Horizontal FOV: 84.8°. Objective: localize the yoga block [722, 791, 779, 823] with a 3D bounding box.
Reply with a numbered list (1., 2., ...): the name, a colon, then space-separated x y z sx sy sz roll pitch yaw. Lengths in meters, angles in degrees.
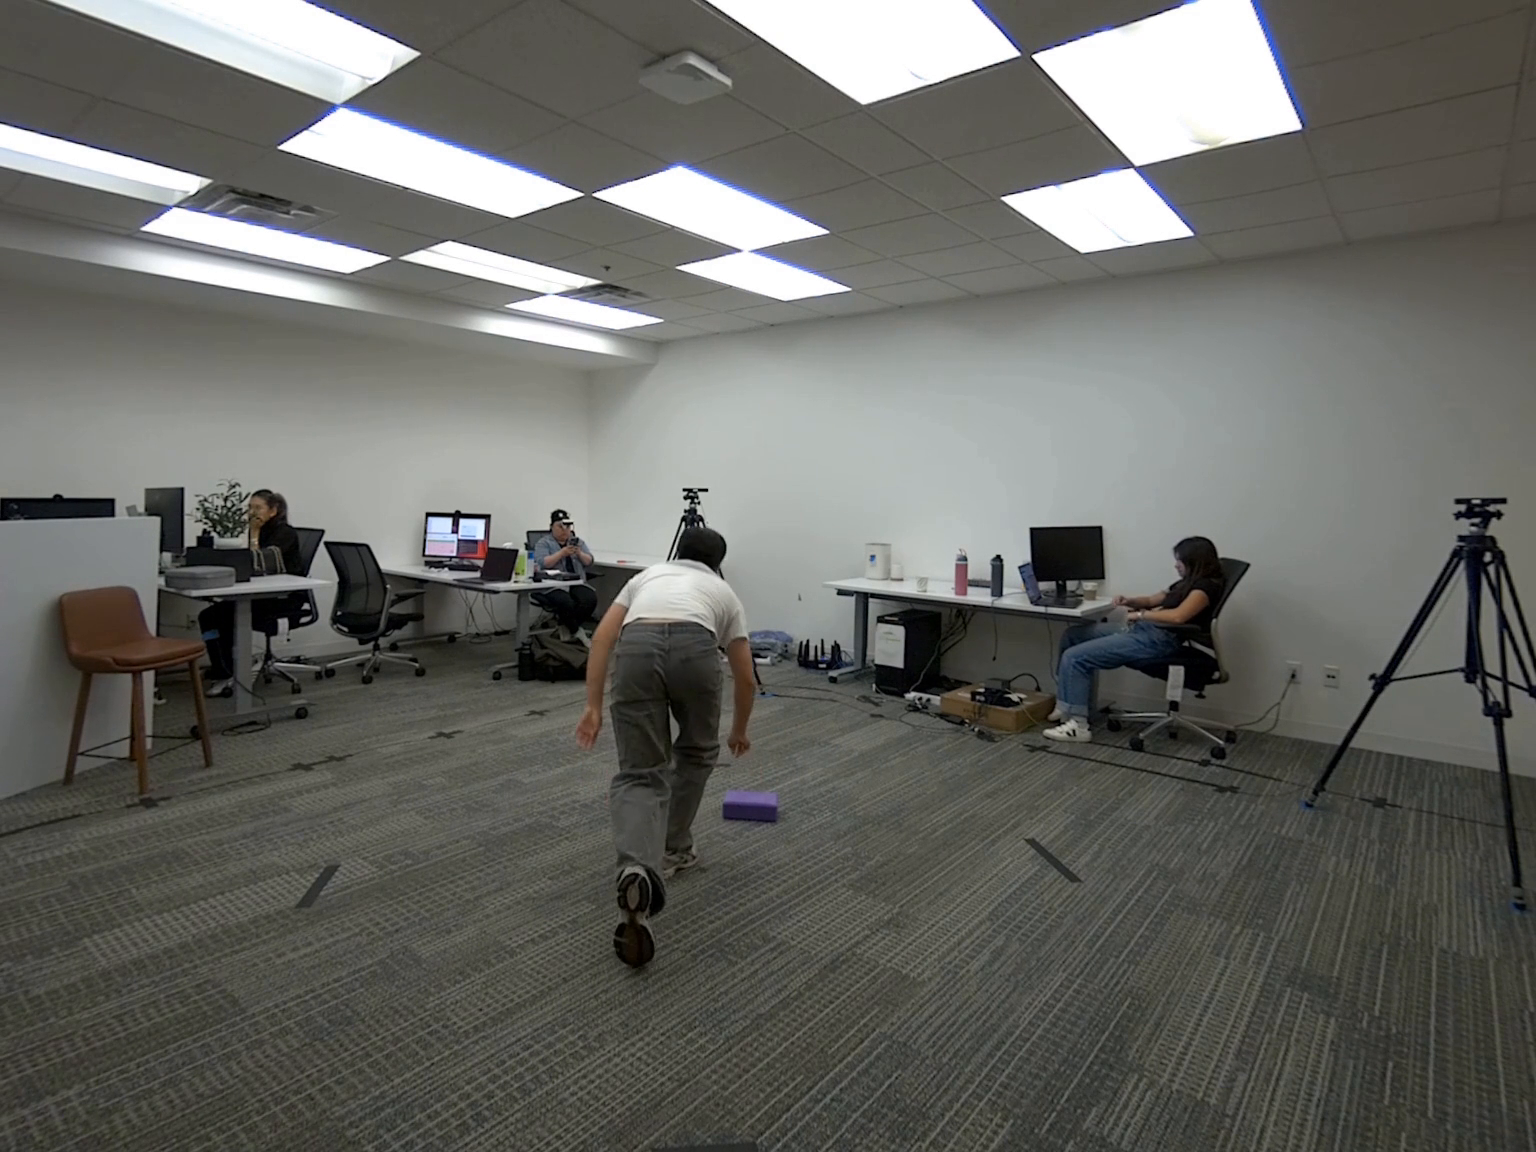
1. yoga block: -0.073 0.977 3.649 0.231 0.076 0.148 1 6 7
